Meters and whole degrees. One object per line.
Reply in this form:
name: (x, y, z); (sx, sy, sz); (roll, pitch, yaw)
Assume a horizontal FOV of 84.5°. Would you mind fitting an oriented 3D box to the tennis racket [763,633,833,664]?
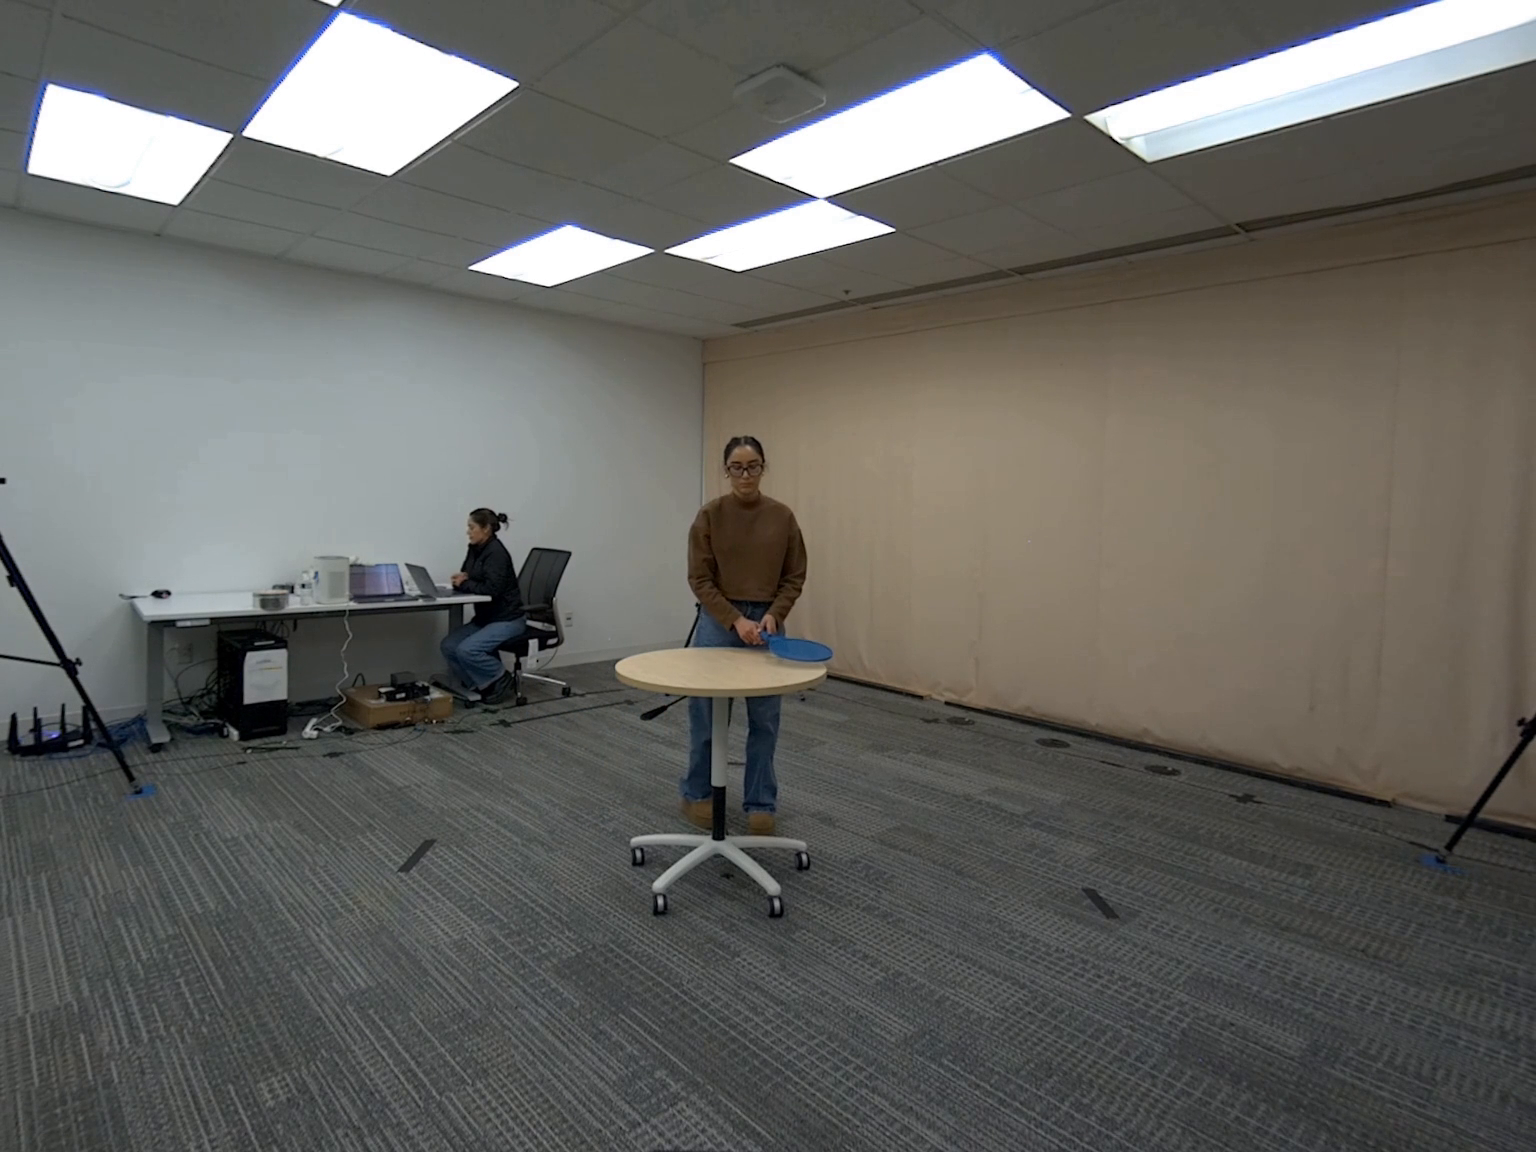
tennis racket: (0.080, 0.269, 3.197); (0.209, 0.031, 0.445); (-10, 18, -39)
